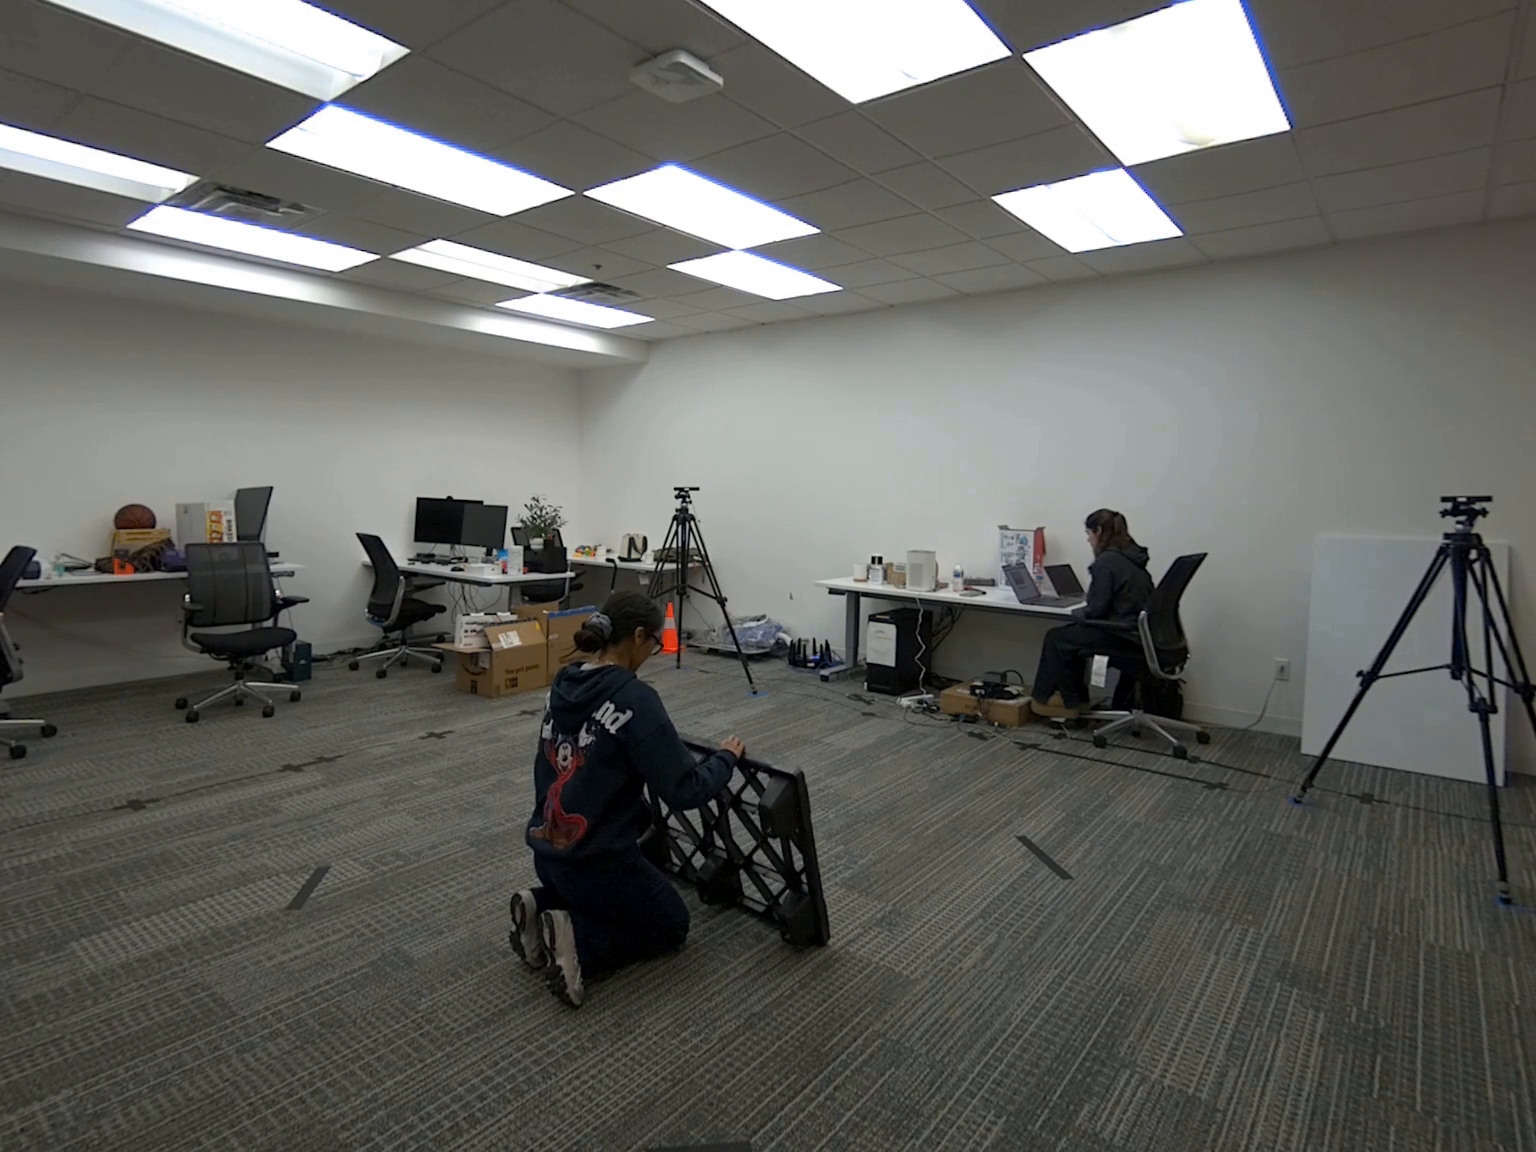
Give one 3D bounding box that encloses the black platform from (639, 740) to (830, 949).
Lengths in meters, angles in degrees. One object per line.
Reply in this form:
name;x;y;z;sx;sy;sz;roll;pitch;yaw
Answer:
black platform;-0.201;0.824;2.762;0.833;0.595;0.141;5;20;43
